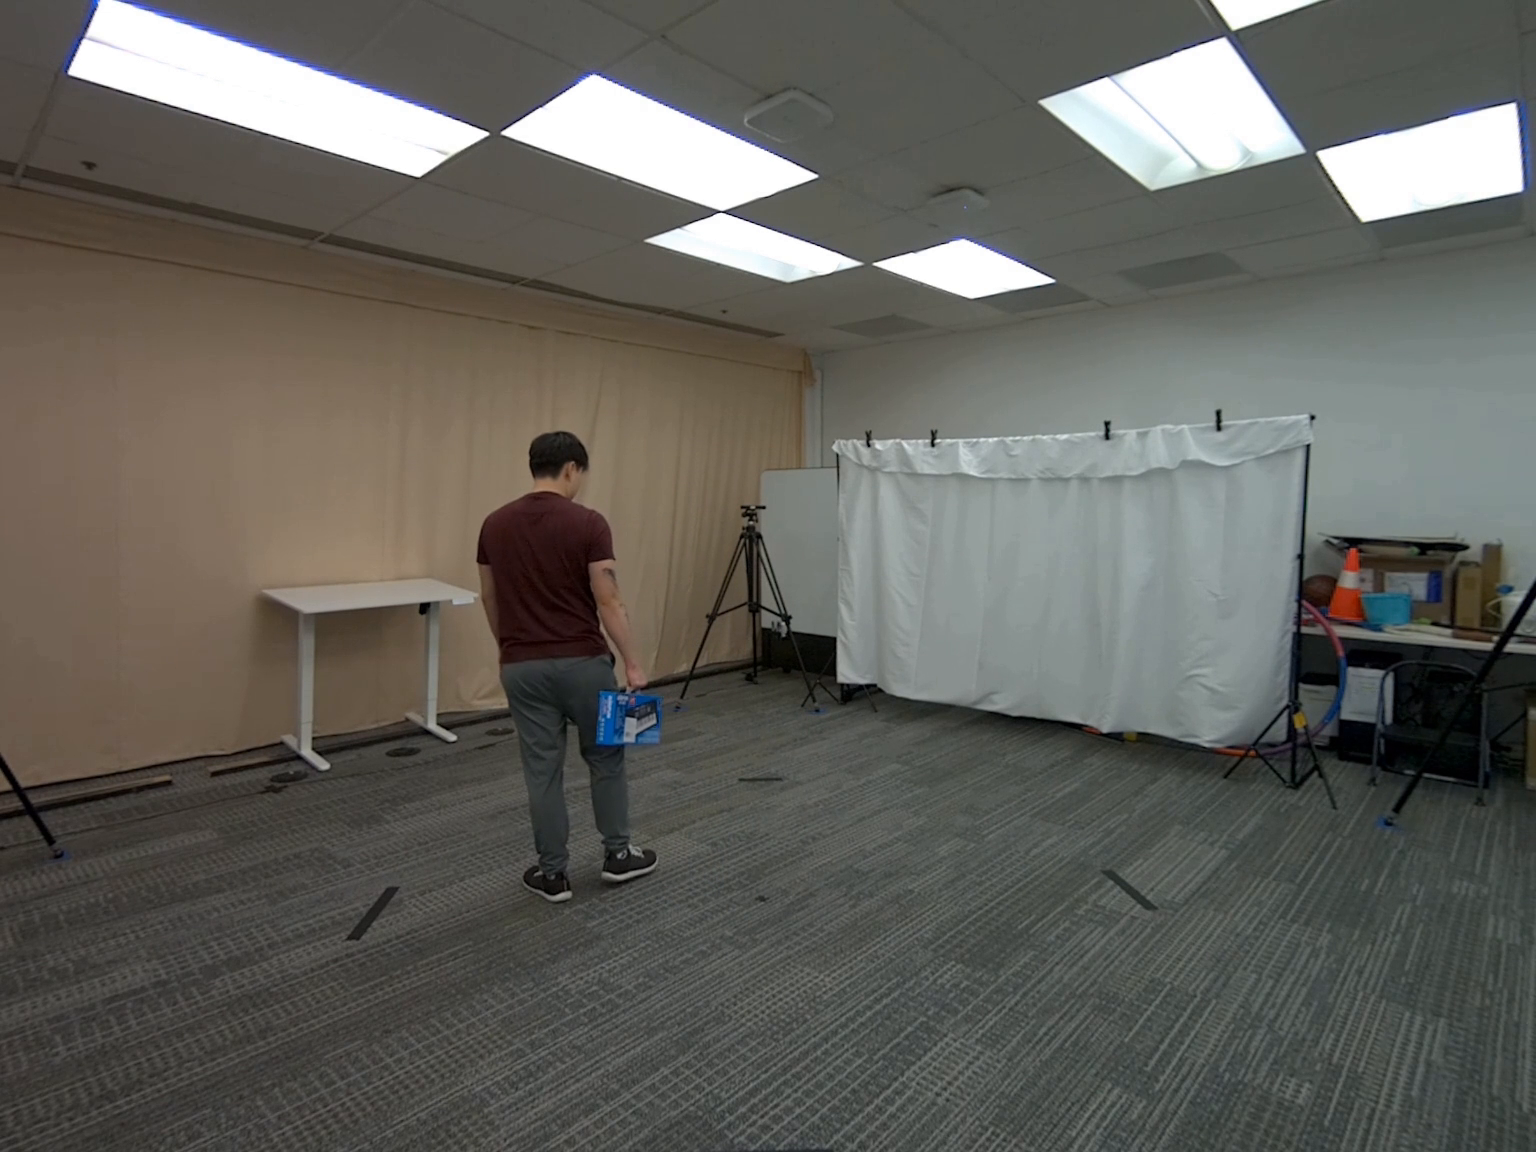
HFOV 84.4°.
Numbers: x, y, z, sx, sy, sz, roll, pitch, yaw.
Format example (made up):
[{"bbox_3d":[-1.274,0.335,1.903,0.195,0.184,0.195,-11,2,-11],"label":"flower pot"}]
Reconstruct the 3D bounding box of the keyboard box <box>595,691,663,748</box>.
[{"bbox_3d":[-0.475,0.502,2.963,0.060,0.177,0.427,0,-10,12],"label":"keyboard box"}]
